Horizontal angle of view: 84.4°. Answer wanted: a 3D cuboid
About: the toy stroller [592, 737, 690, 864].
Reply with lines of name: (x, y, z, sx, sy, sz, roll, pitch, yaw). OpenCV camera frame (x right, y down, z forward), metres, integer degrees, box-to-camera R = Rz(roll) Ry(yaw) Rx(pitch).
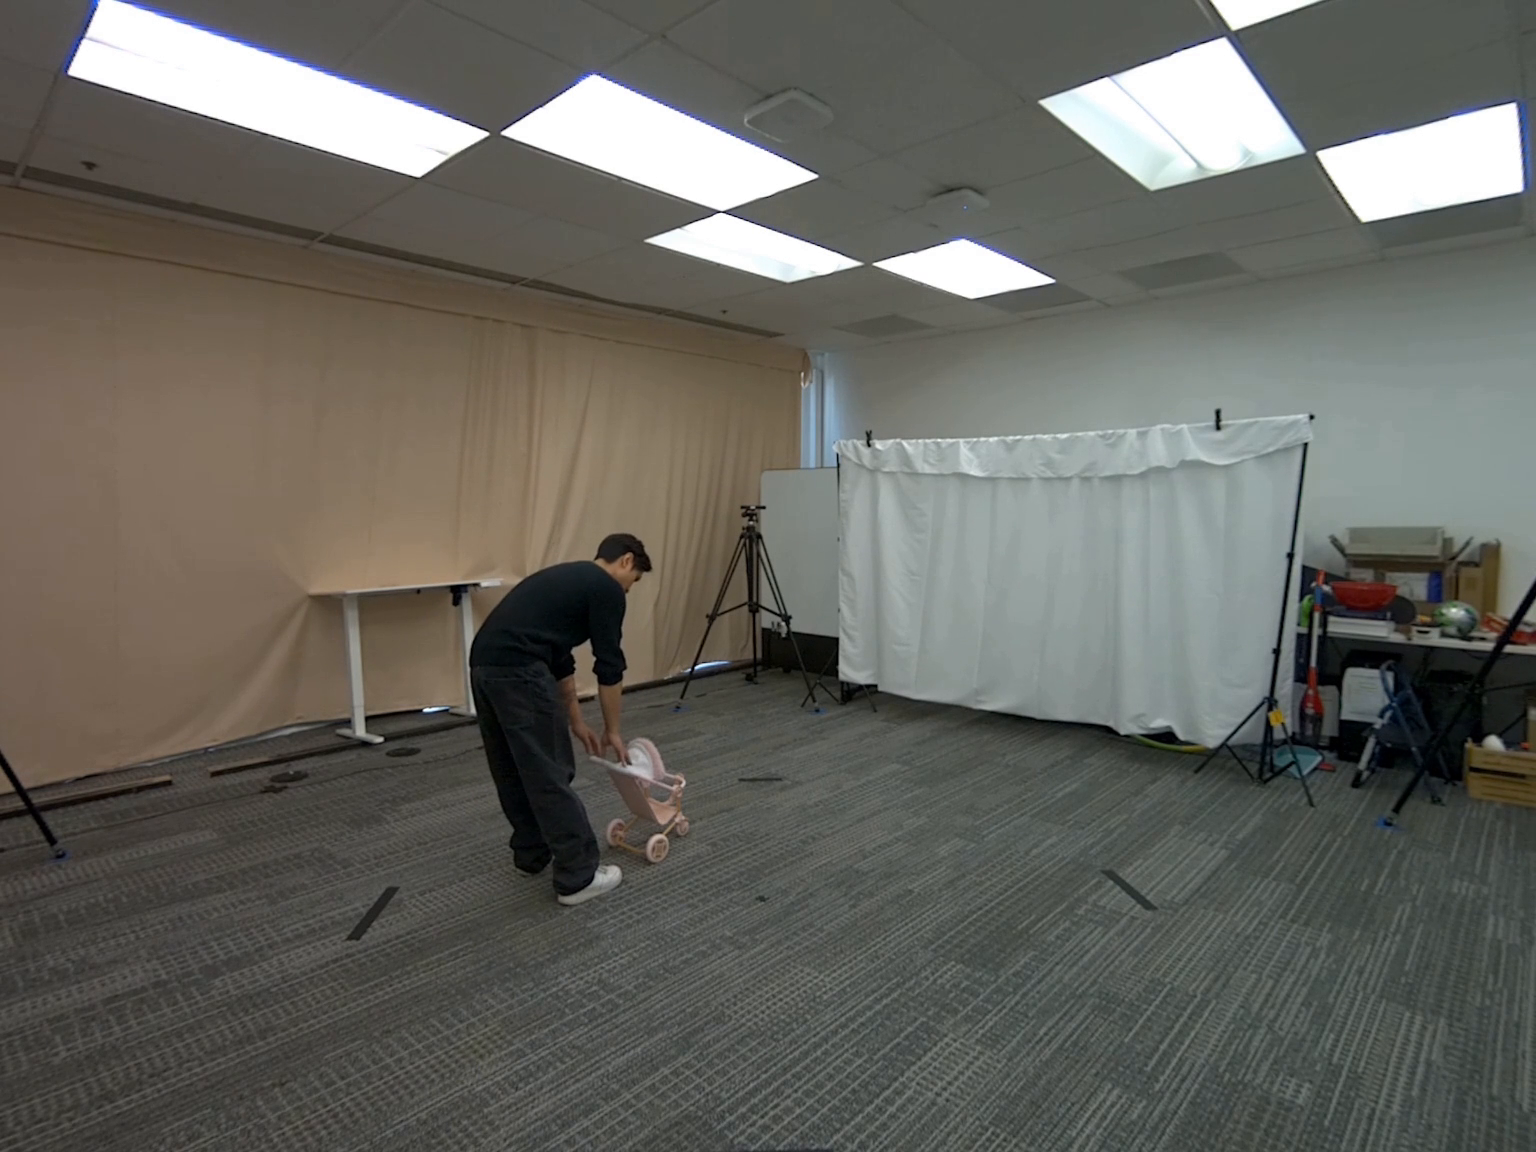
toy stroller: (-0.491, 0.891, 3.412, 0.291, 0.528, 0.334, 4, 23, 45)
